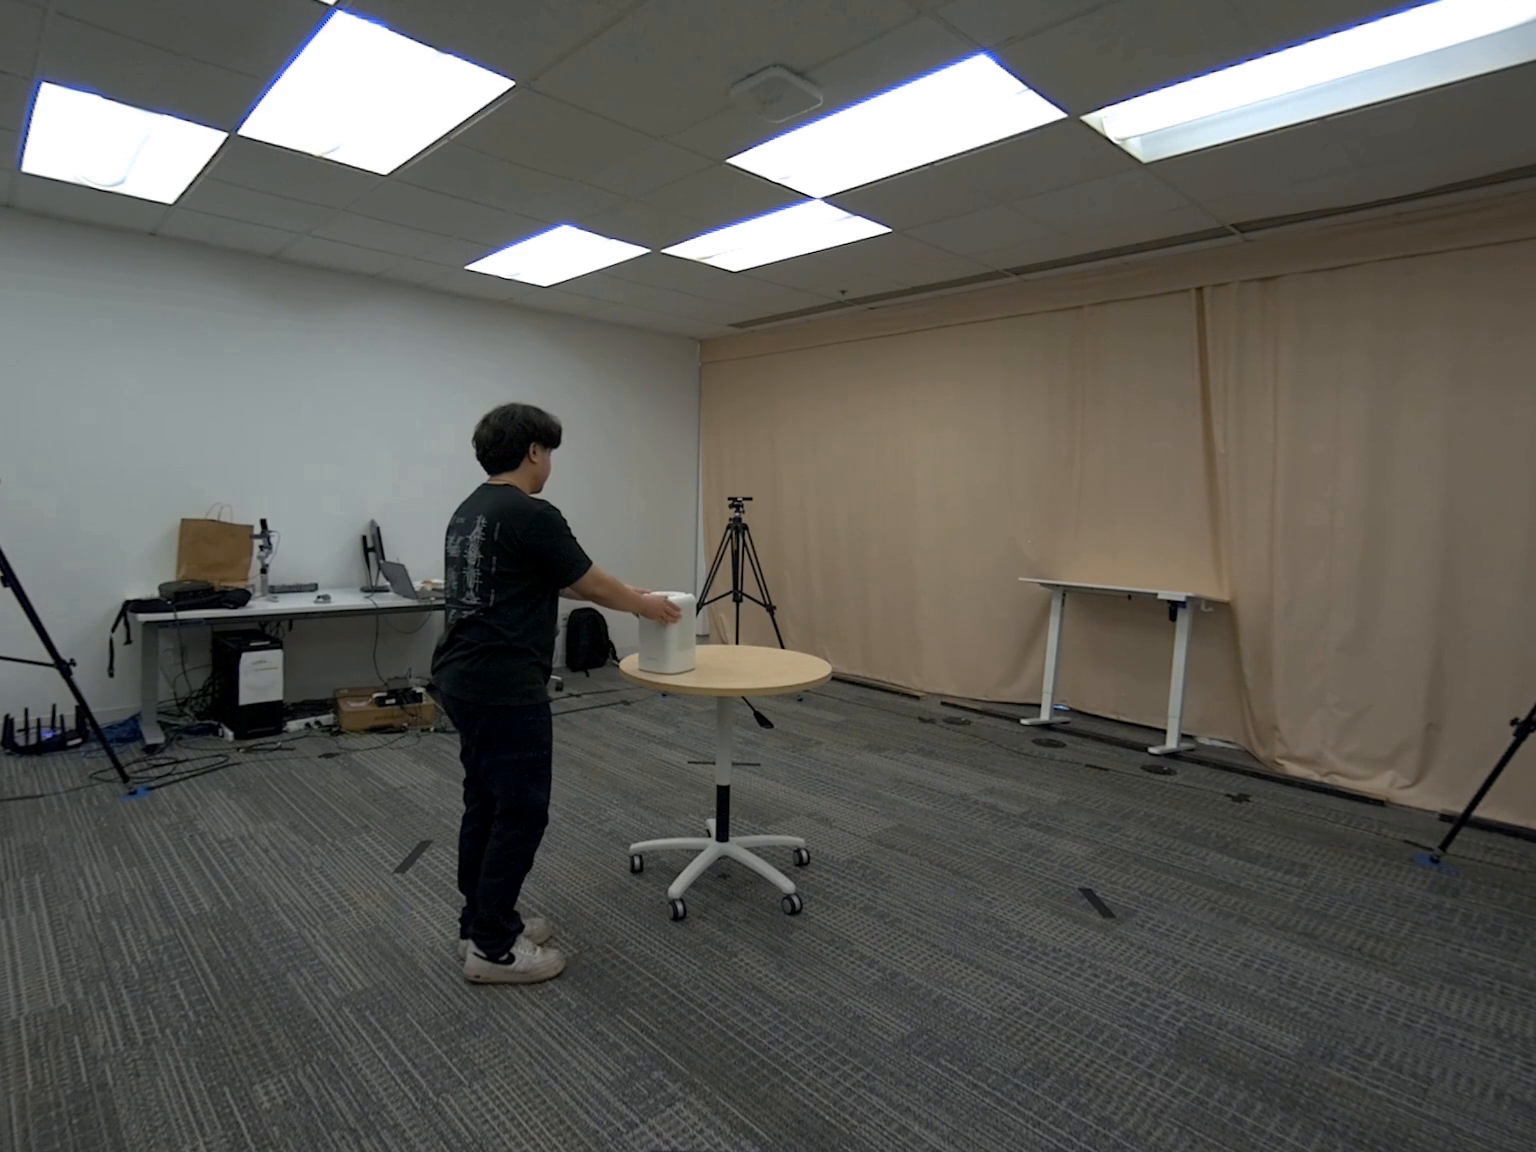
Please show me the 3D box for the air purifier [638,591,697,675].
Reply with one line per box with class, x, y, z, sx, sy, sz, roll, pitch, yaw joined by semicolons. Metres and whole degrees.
air purifier;-0.357;0.195;2.933;0.175;0.264;0.168;3;5;33
